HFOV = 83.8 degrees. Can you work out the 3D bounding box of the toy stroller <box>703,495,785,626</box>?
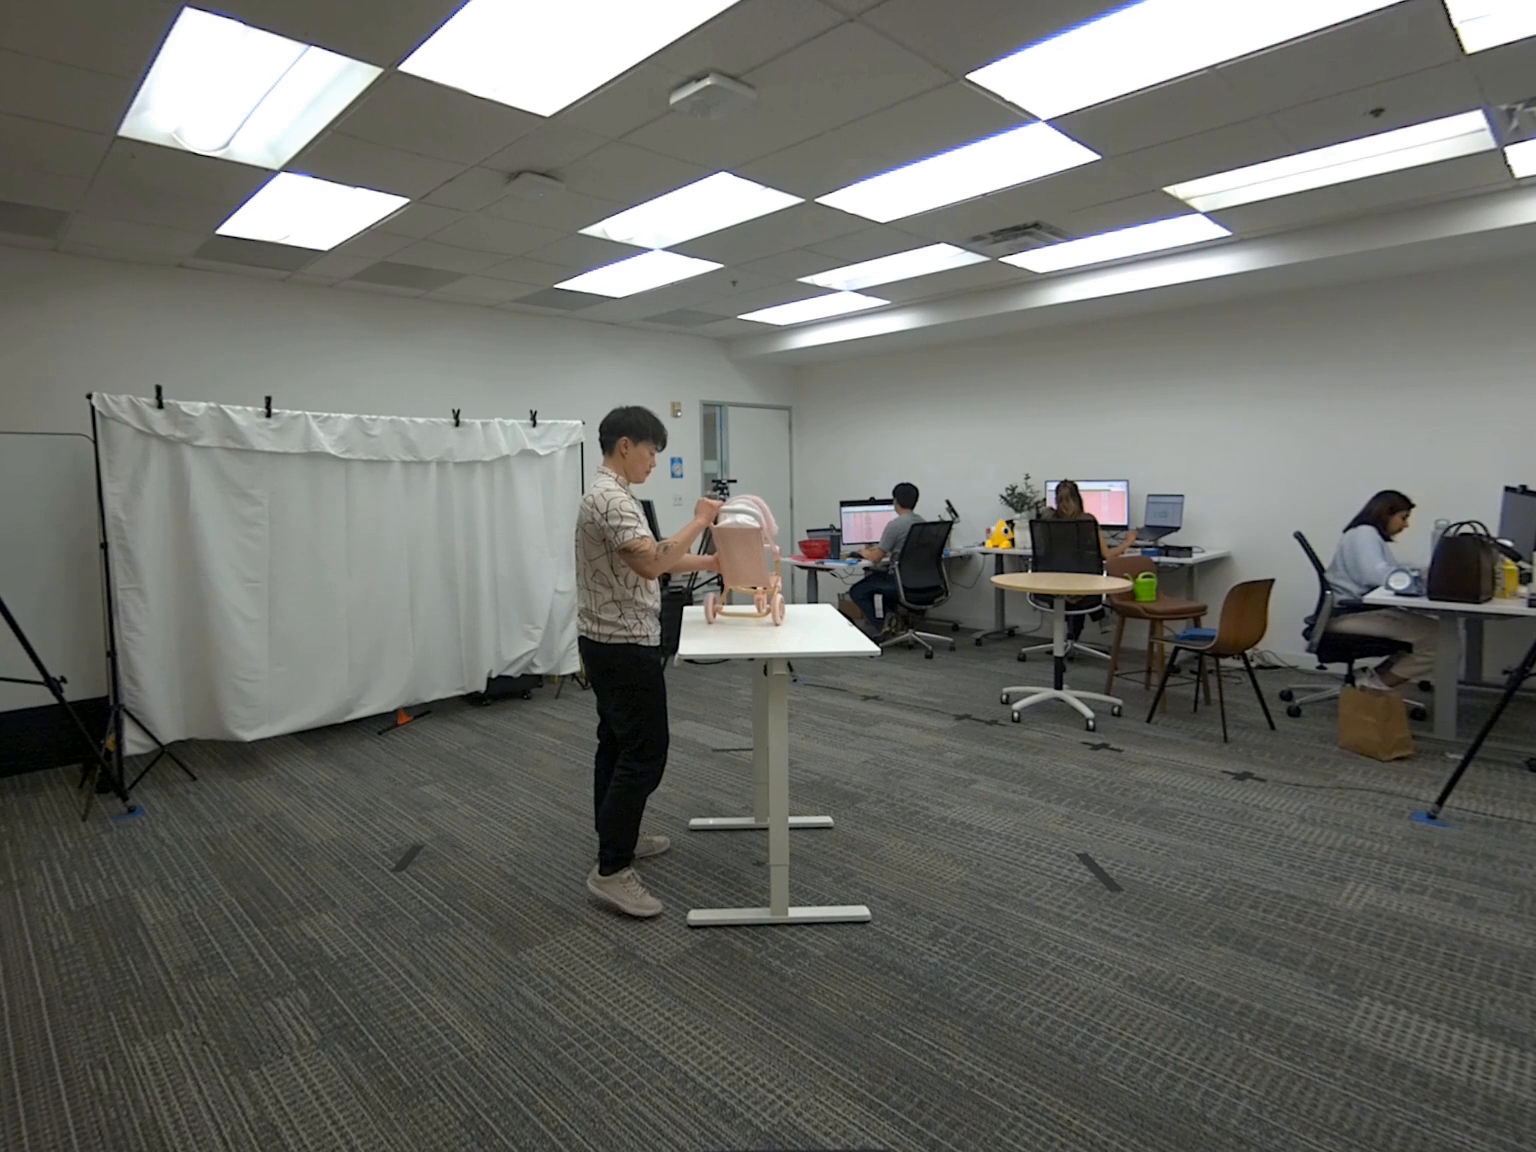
[{"bbox_3d":[-0.075,-0.056,3.092,0.287,0.525,0.341,1,20,19],"label":"toy stroller"}]
